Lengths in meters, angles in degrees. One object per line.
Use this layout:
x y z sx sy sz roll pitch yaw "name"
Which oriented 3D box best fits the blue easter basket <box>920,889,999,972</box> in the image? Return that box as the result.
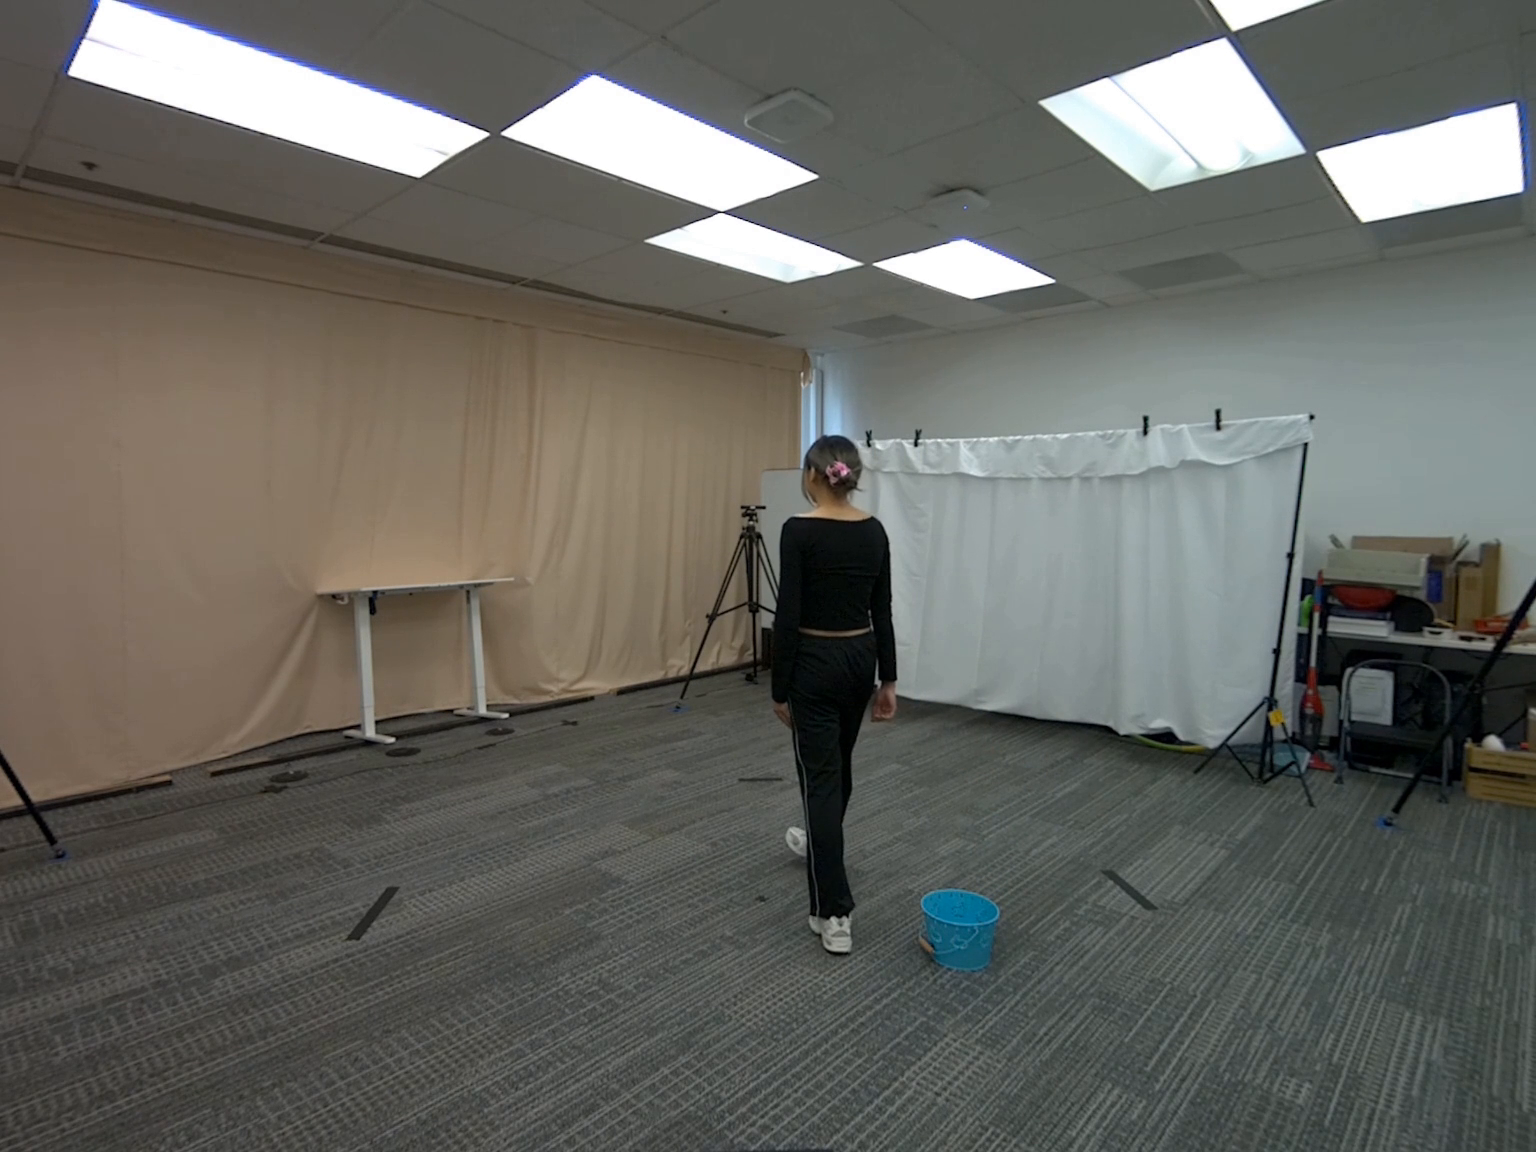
0.598 1.095 2.596 0.243 0.155 0.244 0 5 -2 "blue easter basket"
